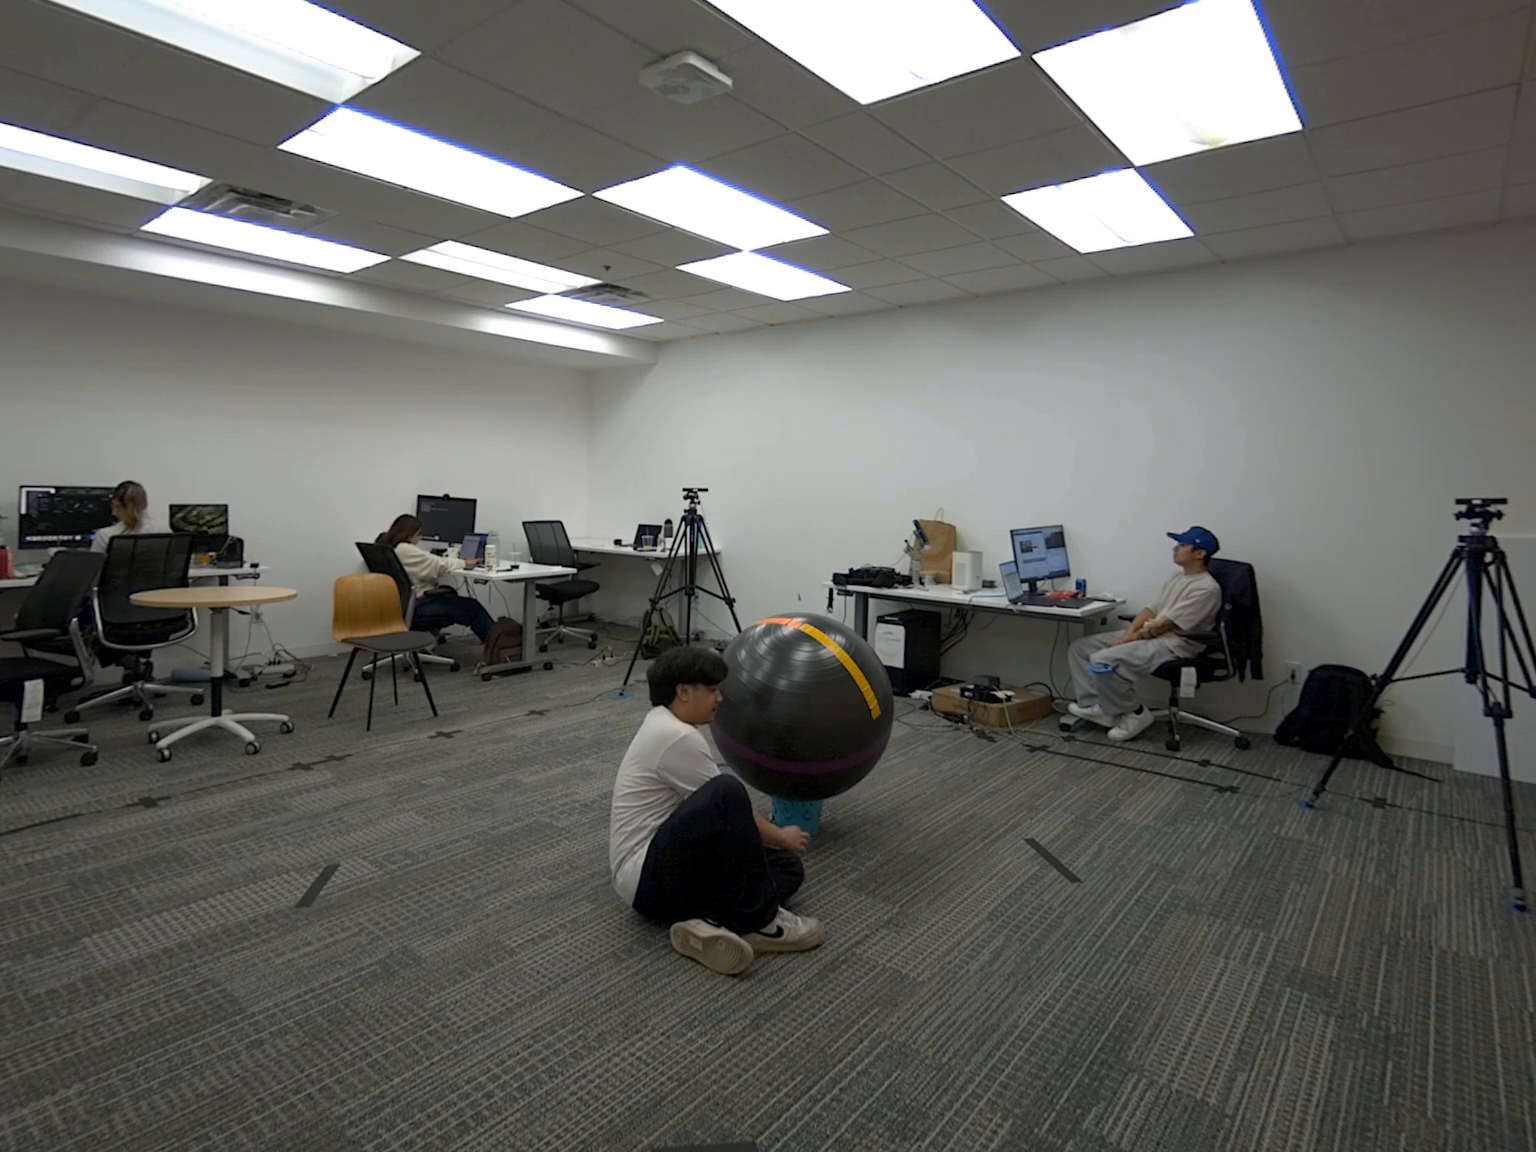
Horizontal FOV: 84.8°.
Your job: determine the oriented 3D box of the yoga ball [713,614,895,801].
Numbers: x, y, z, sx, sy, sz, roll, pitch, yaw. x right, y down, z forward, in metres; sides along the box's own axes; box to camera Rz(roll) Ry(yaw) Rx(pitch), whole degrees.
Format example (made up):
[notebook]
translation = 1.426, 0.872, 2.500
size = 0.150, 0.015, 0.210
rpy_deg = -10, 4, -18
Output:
[yoga ball]
translation = 0.138, 0.529, 3.495
size = 0.757, 0.756, 0.761
rpy_deg = 1, 4, -2
